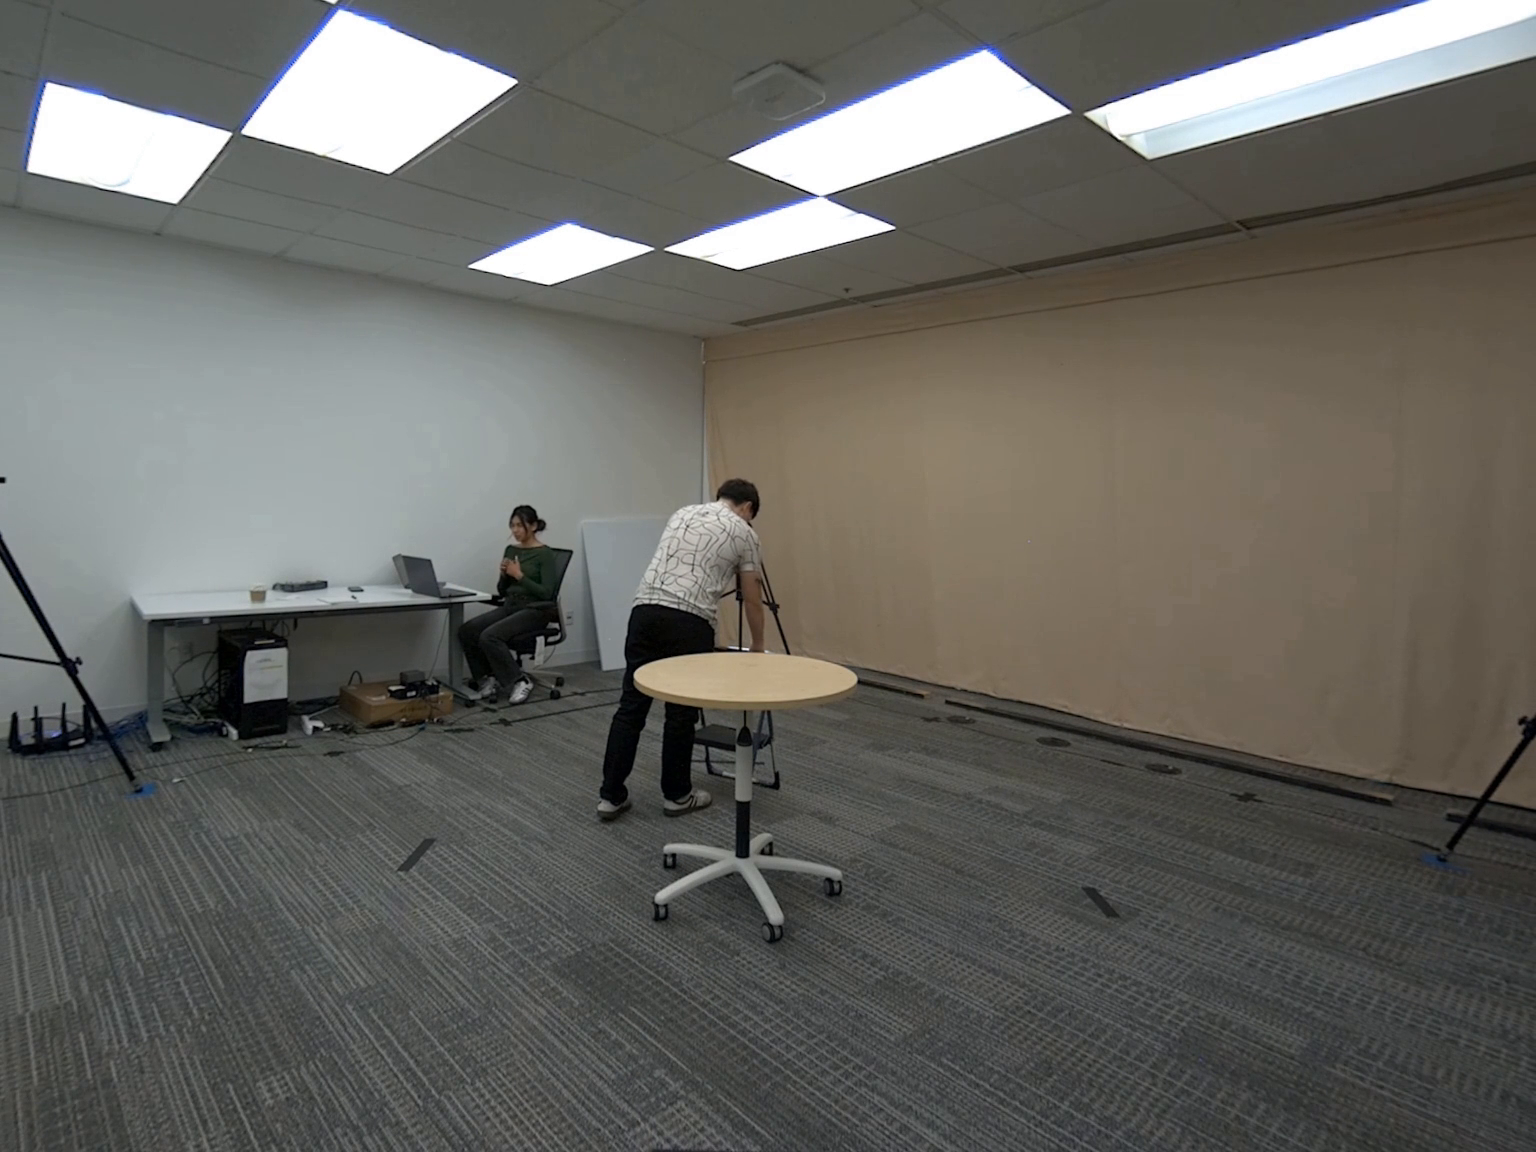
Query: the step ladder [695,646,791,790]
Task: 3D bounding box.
[{"bbox_3d":[-0.205,0.720,4.009,0.440,0.605,0.342,3,4,31],"label":"step ladder"}]
